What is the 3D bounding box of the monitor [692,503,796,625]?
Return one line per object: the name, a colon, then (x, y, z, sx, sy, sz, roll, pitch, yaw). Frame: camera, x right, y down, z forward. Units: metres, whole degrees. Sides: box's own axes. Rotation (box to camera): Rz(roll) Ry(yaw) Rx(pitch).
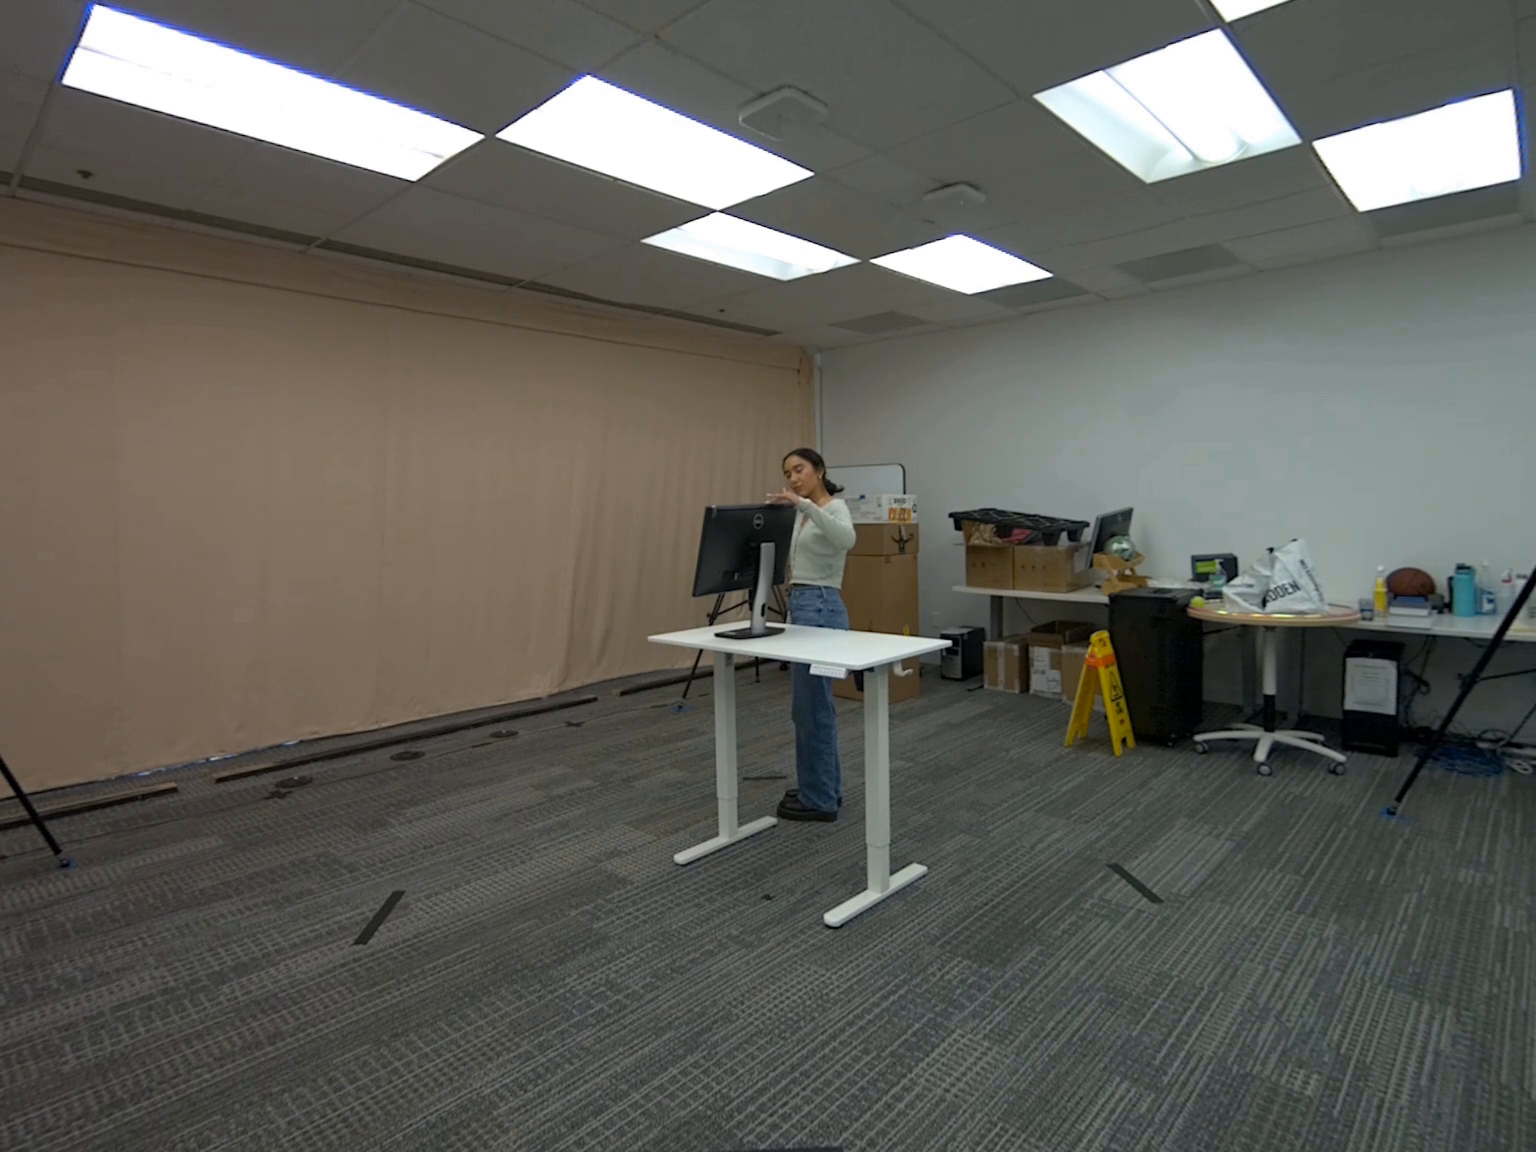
monitor: (-0.056, -0.019, 3.304, 0.193, 0.521, 0.523, 4, 7, 40)
